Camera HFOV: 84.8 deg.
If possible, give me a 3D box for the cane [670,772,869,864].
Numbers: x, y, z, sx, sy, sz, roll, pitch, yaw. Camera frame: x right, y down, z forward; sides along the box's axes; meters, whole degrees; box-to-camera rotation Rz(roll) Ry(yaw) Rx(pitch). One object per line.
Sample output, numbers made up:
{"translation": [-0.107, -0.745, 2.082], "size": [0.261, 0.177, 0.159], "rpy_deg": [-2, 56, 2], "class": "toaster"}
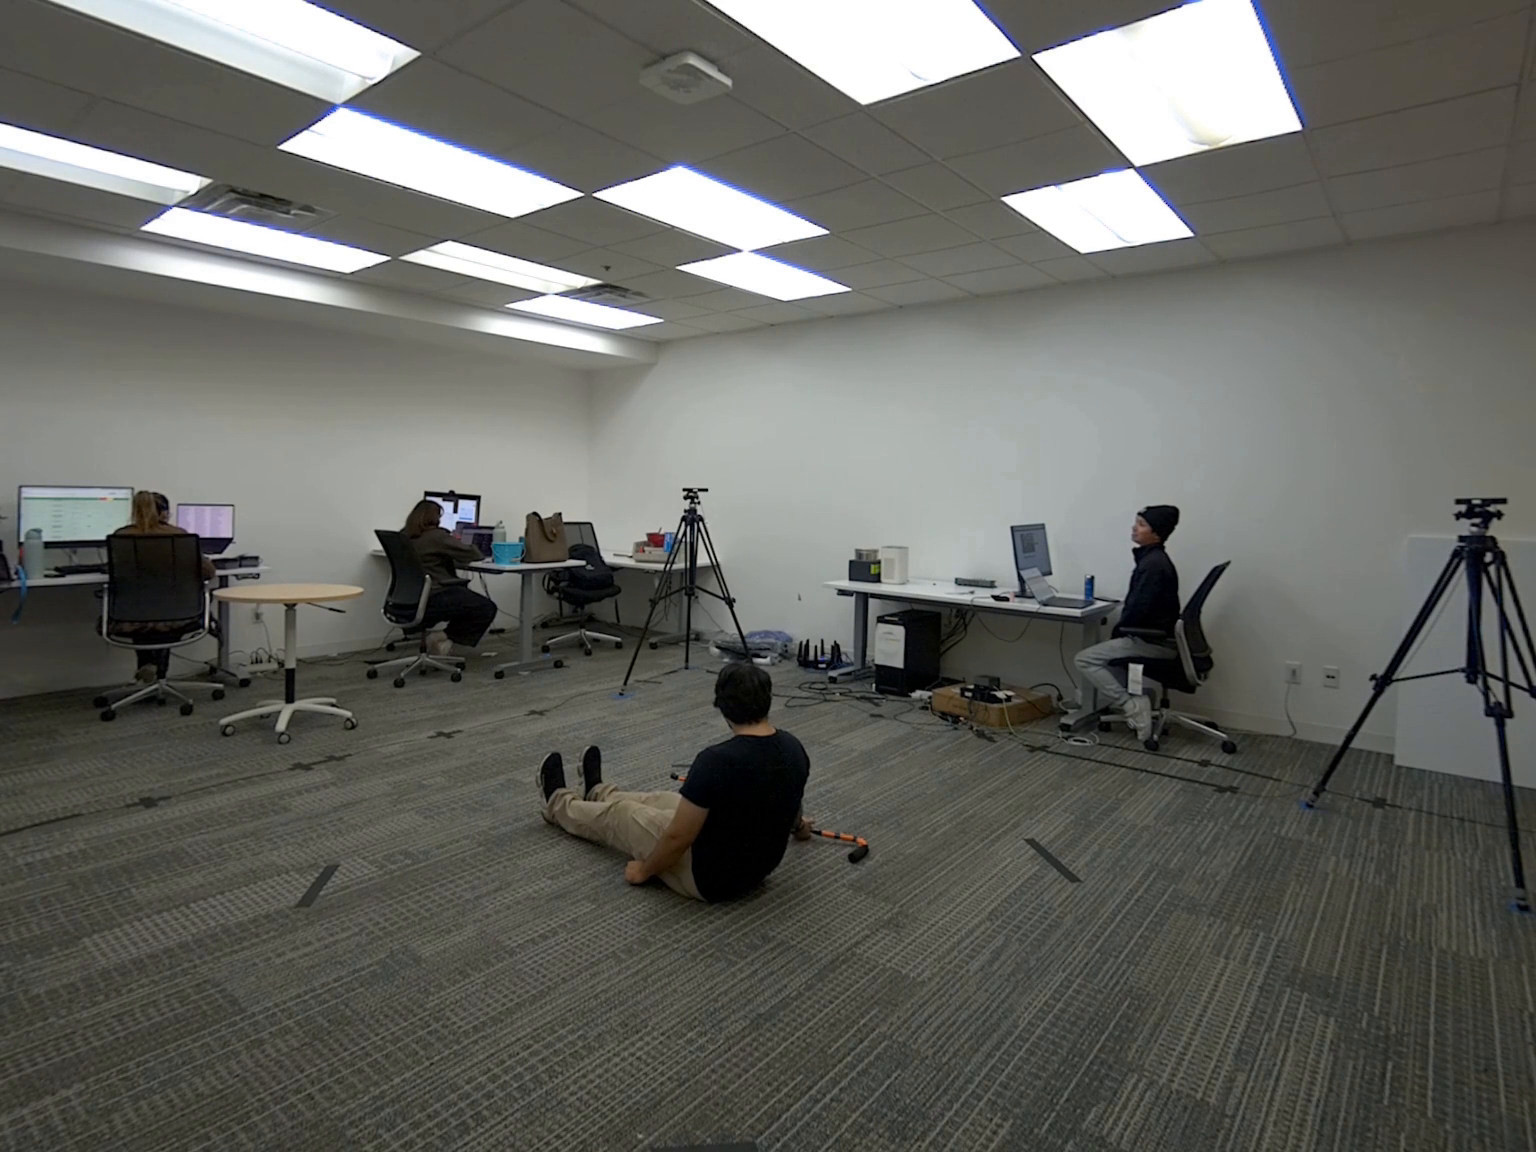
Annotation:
{"translation": [-0.010, 0.977, 3.517], "size": [0.940, 0.151, 0.200], "rpy_deg": [10, 8, 36], "class": "cane"}
